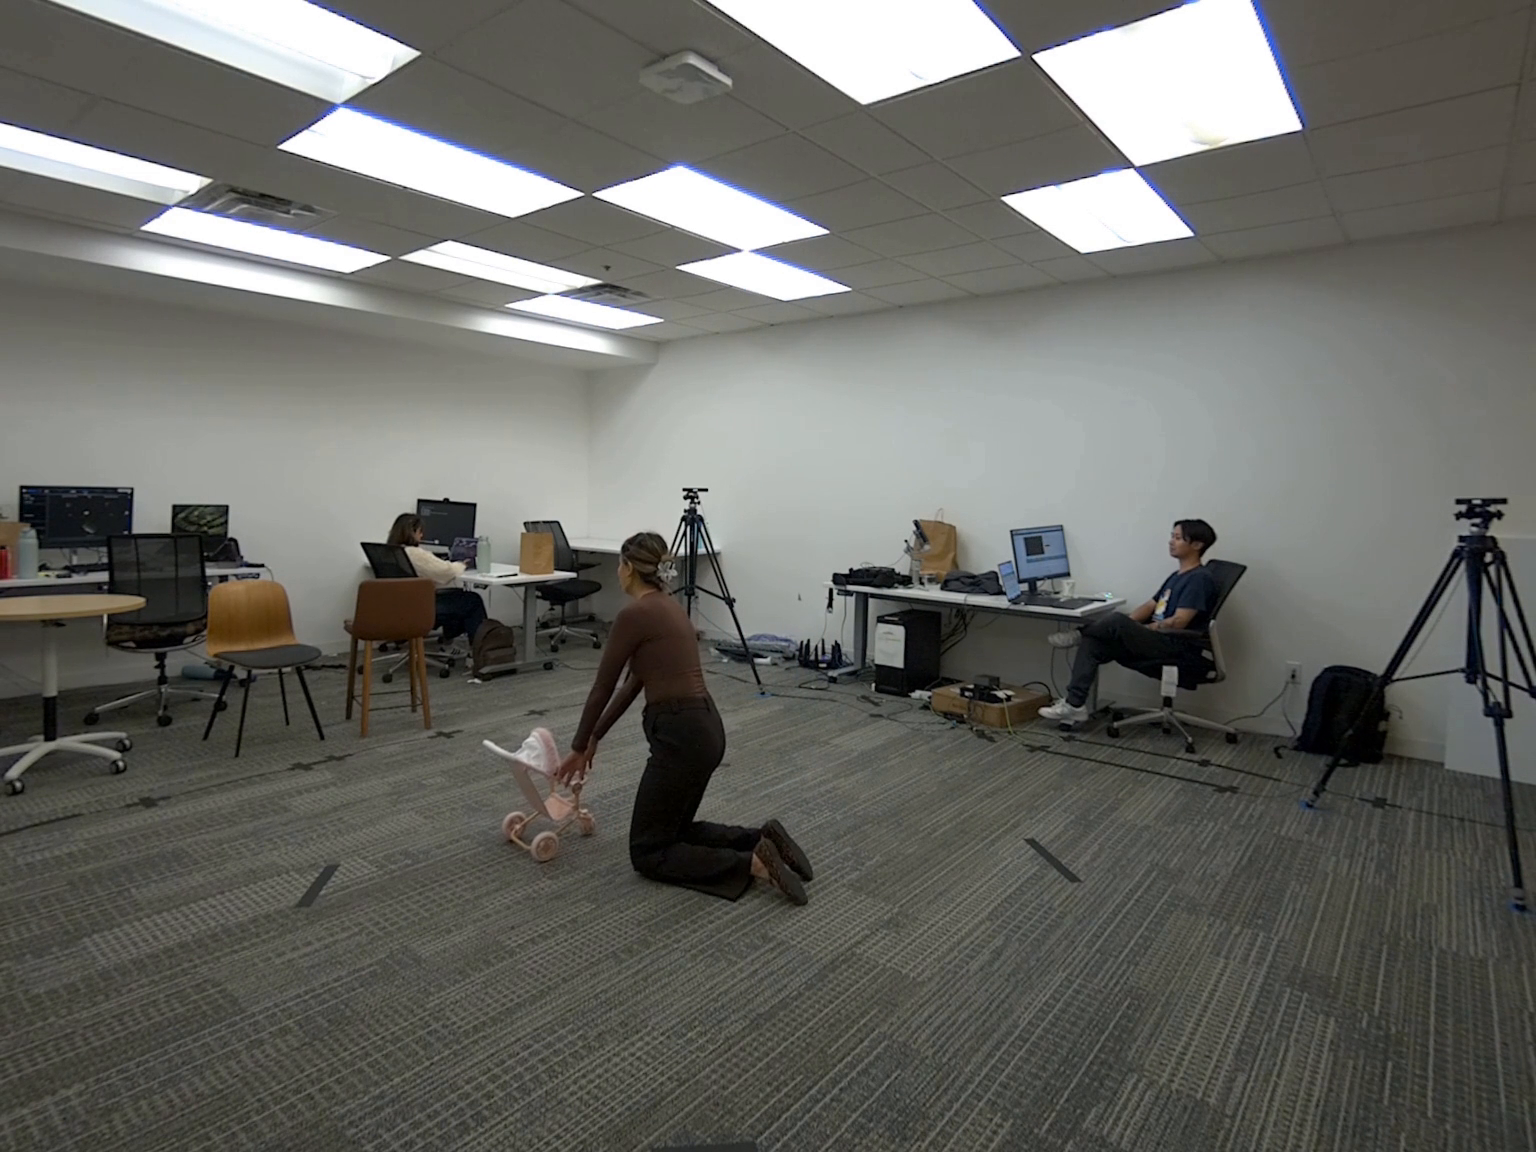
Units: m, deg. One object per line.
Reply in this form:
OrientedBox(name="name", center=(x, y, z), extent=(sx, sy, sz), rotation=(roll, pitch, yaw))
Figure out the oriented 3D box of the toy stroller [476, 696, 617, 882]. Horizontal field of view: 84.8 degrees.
OrientedBox(name="toy stroller", center=(-0.861, 0.811, 3.274), extent=(0.335, 0.527, 0.291), rotation=(-20, 16, -34))
